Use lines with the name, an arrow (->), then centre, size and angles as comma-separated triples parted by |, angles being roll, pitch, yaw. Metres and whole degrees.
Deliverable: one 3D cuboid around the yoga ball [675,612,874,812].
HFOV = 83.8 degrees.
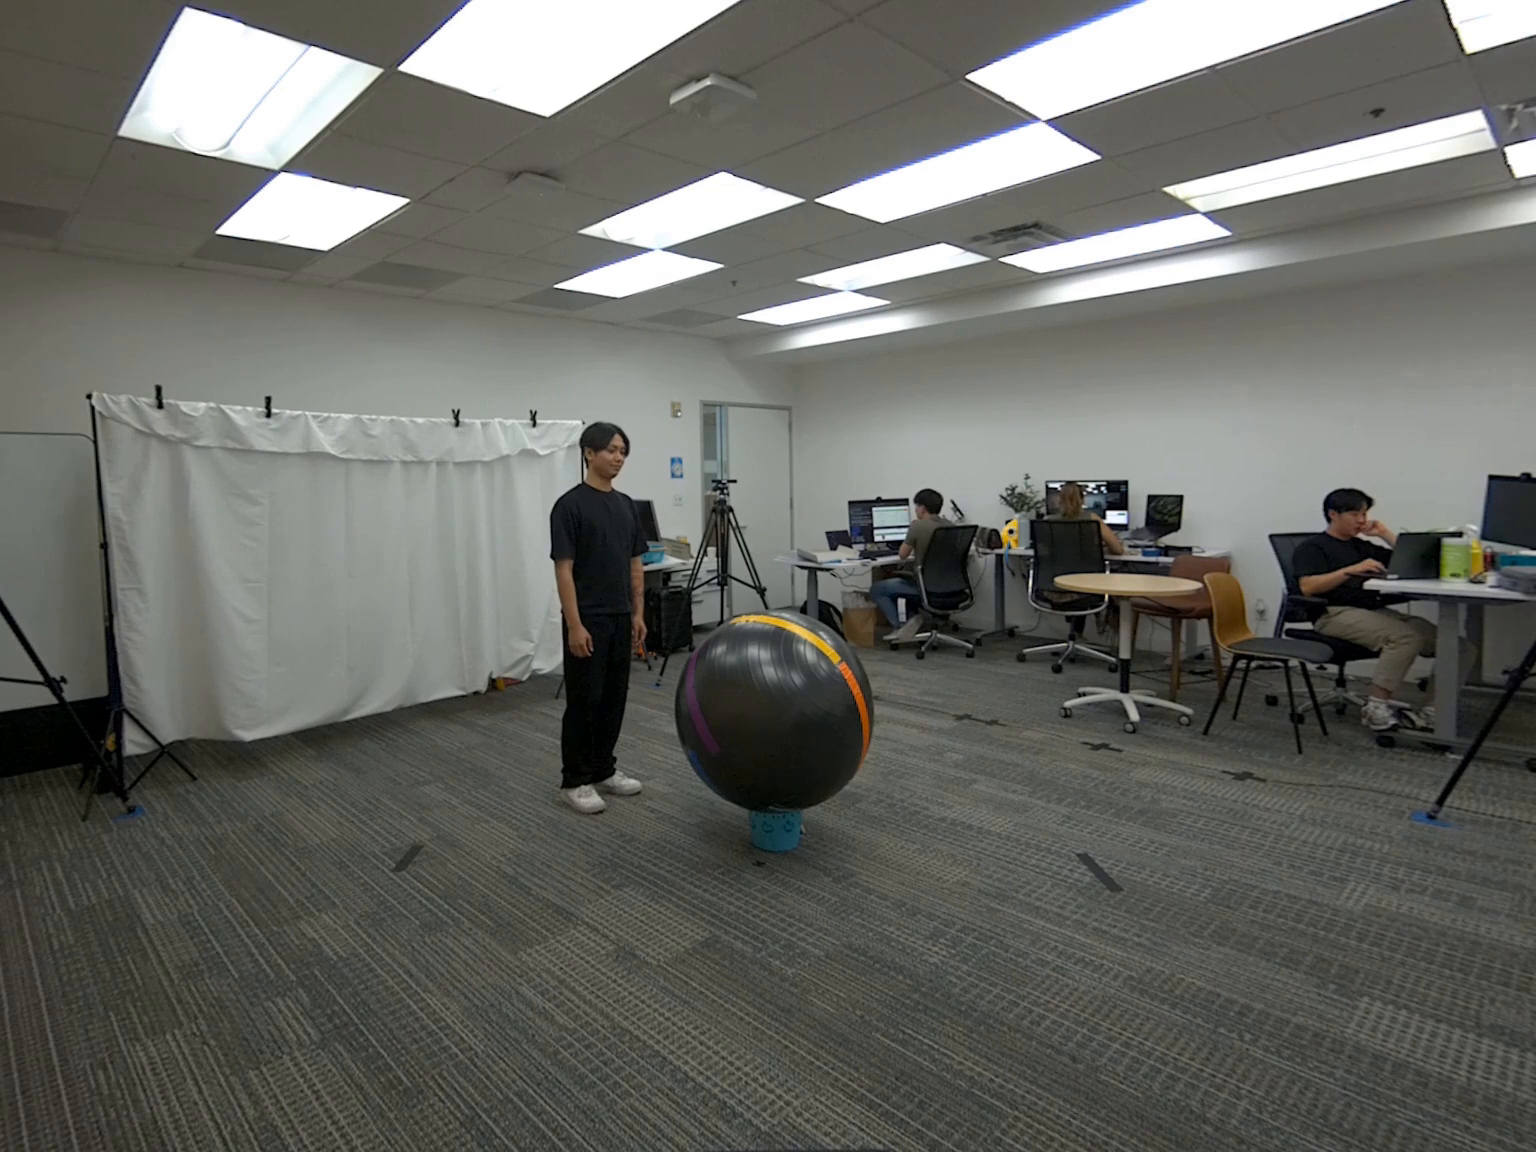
yoga ball -> 0.022, 0.513, 3.278 | 0.757, 0.755, 0.762 | -1, 5, -2
